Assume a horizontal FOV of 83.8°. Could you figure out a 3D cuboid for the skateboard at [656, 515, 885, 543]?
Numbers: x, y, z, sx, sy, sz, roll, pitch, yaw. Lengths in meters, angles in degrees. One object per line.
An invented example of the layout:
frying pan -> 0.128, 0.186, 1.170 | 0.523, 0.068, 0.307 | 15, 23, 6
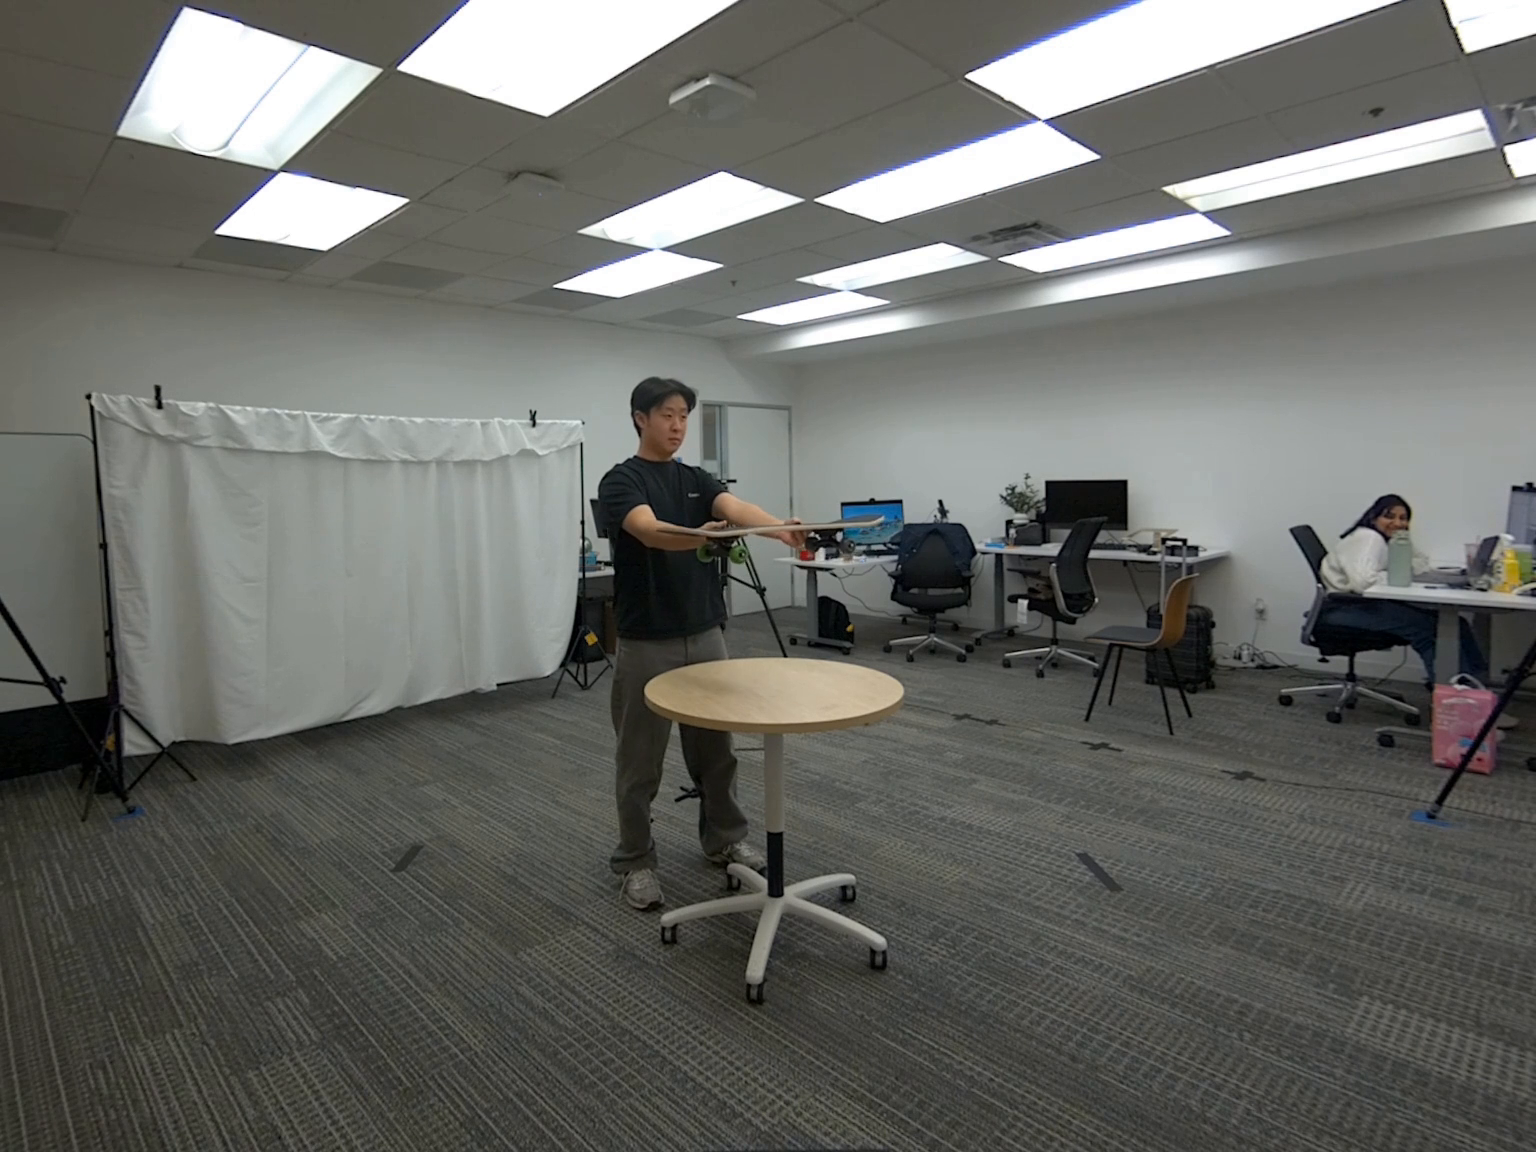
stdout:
skateboard -> 0.042, -0.103, 2.429 | 0.767, 0.110, 0.199 | -6, 7, -32
